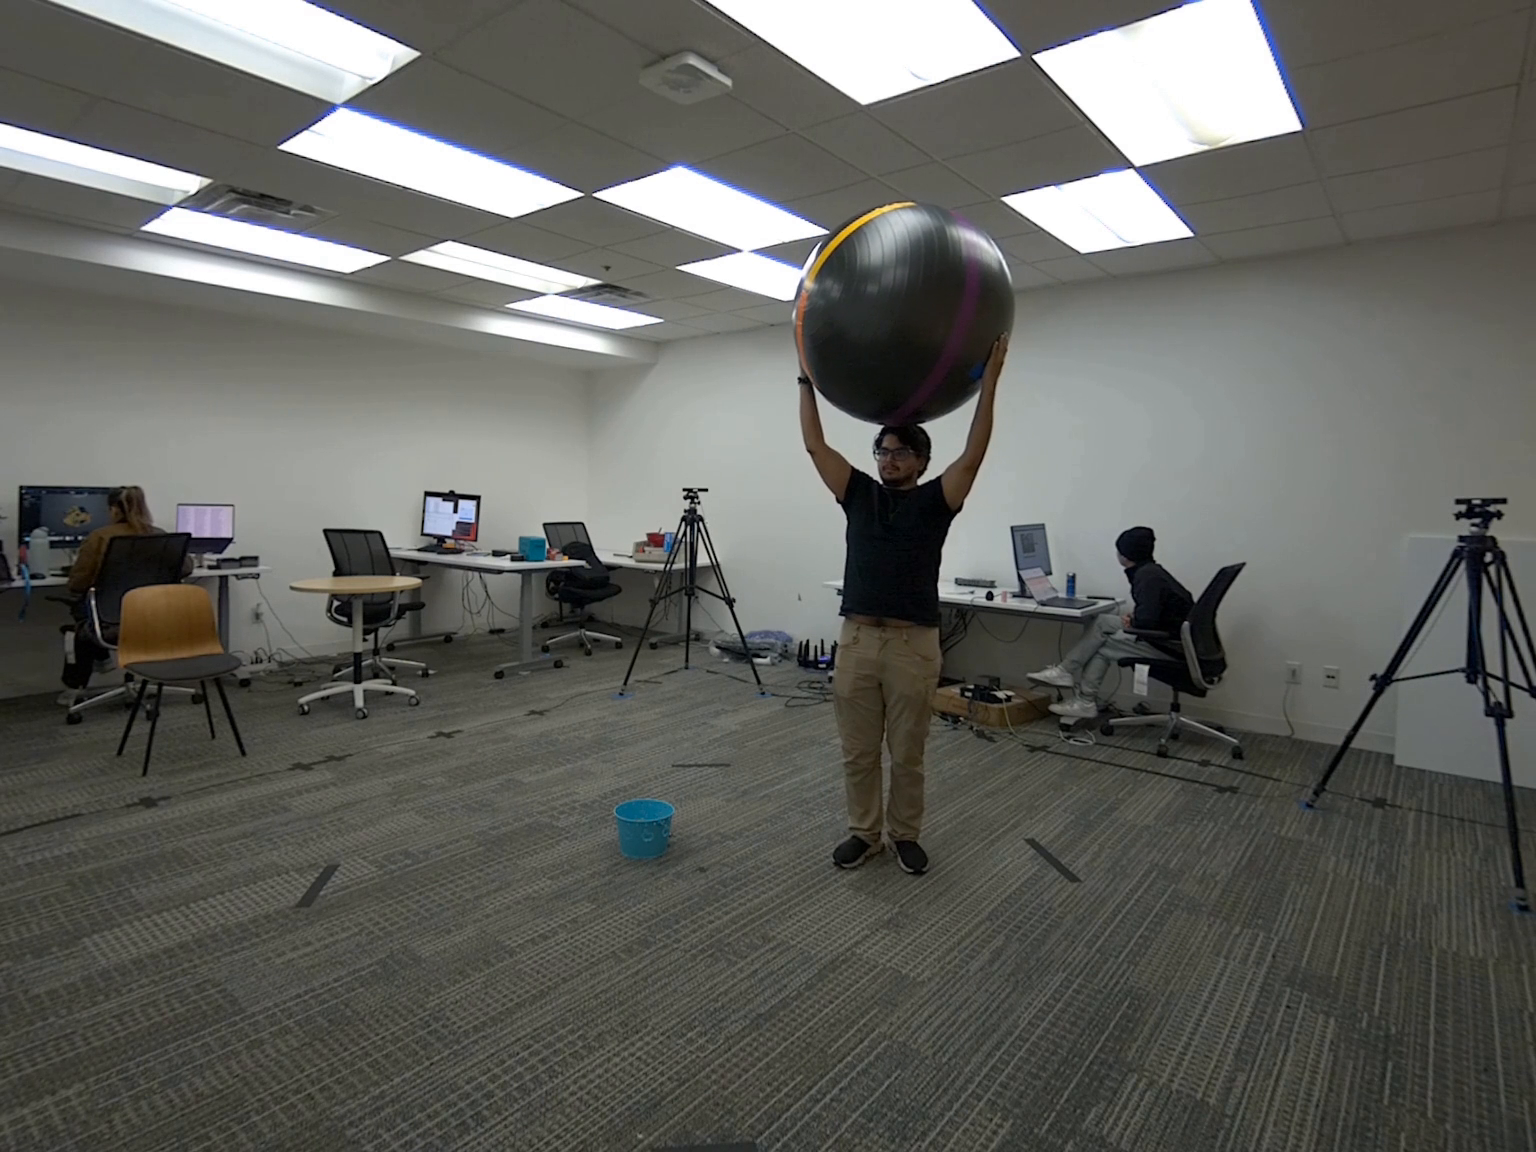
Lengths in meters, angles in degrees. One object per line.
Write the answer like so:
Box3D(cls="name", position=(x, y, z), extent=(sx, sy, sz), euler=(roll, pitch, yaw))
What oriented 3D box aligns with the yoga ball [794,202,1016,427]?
Box3D(cls="yoga ball", position=(0.453, -0.903, 2.975), extent=(0.757, 0.756, 0.761), euler=(1, 4, -2))
